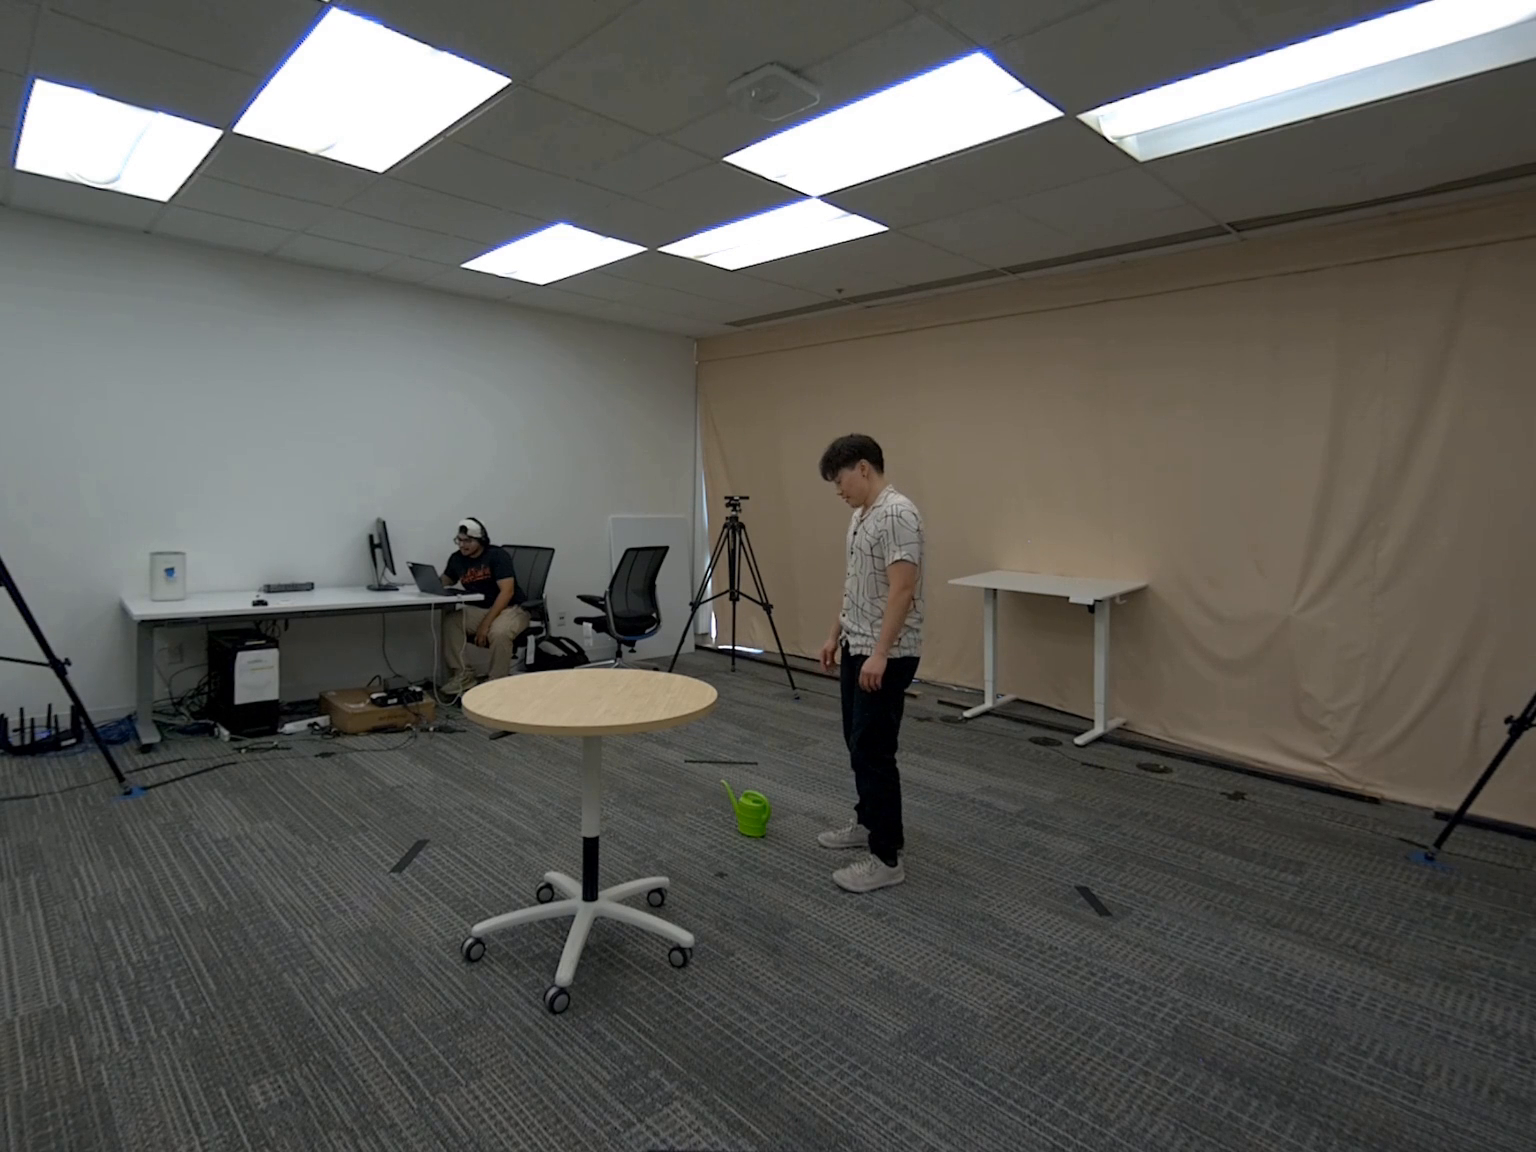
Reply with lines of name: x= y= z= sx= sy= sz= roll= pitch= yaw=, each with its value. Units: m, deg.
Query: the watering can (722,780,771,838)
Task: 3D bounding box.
watering can: x=-0.094 y=0.971 z=3.543 sx=0.096 sy=0.176 sz=0.285 roll=0 pitch=5 yaw=-35
